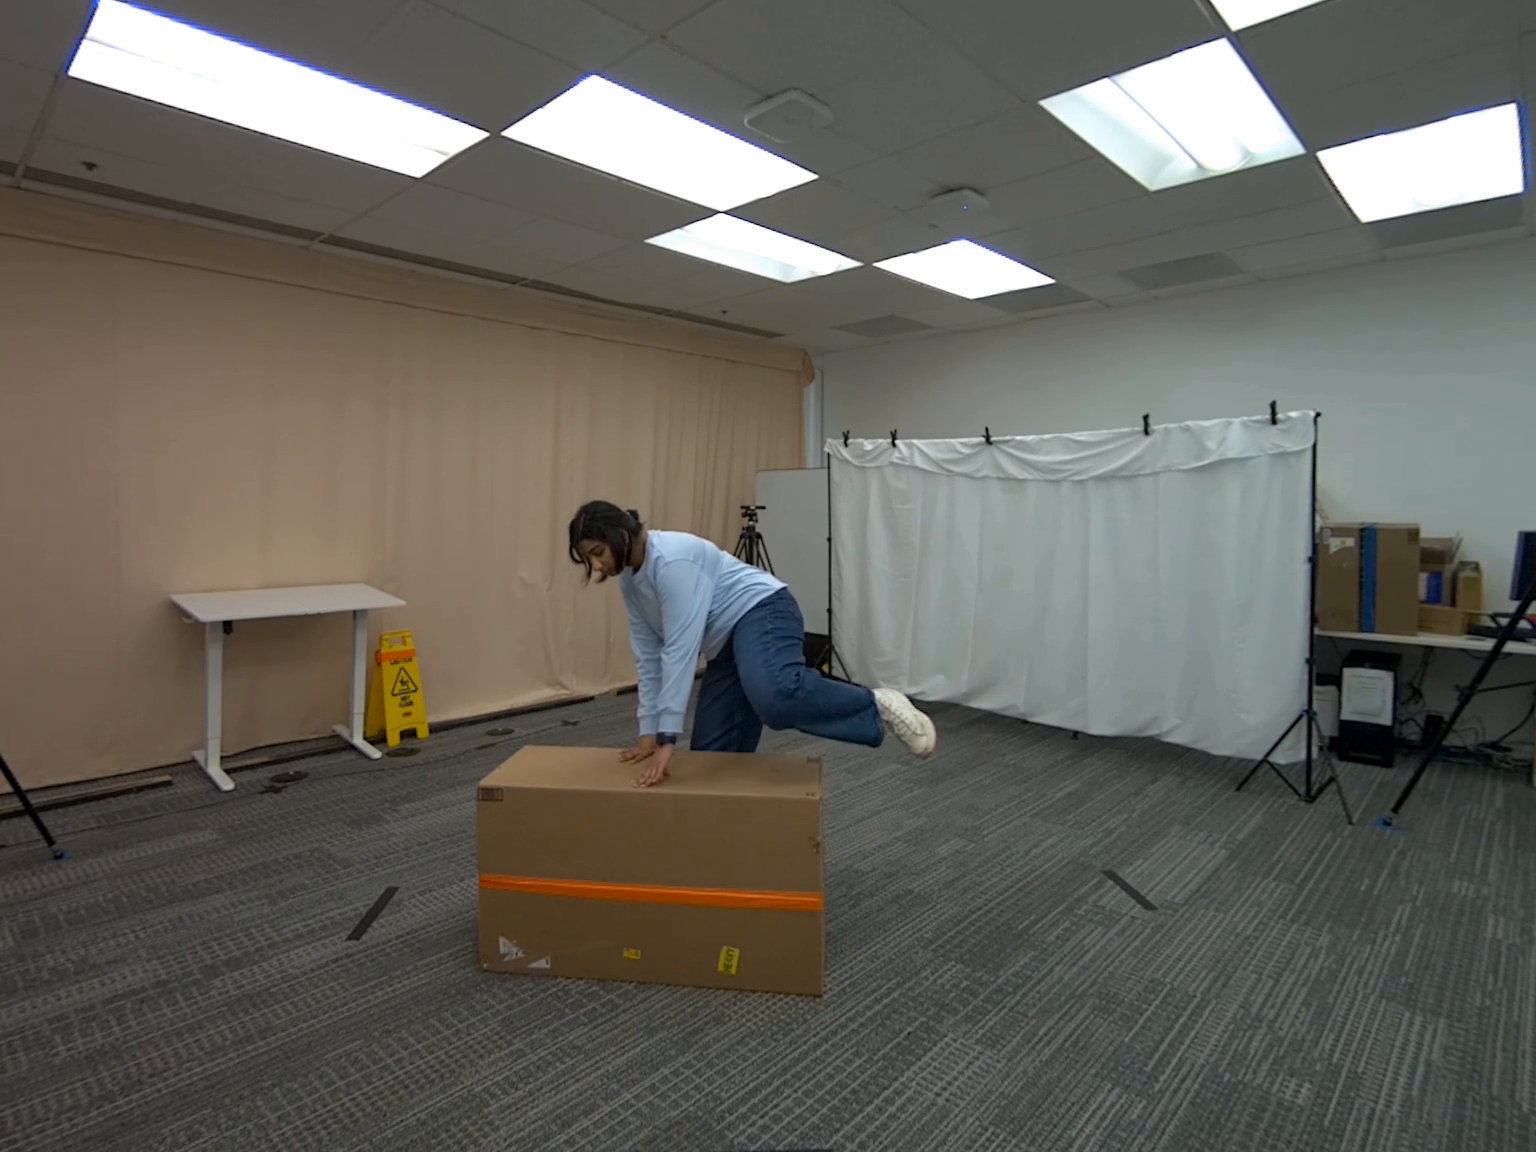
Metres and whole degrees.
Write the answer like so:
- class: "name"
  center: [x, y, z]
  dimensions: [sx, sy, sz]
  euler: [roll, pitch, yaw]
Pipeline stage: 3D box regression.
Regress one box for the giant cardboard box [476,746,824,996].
- class: "giant cardboard box"
  center: [-0.341, 0.889, 2.639]
  dimensions: [1.034, 0.576, 0.424]
  euler: [0, 4, 7]
